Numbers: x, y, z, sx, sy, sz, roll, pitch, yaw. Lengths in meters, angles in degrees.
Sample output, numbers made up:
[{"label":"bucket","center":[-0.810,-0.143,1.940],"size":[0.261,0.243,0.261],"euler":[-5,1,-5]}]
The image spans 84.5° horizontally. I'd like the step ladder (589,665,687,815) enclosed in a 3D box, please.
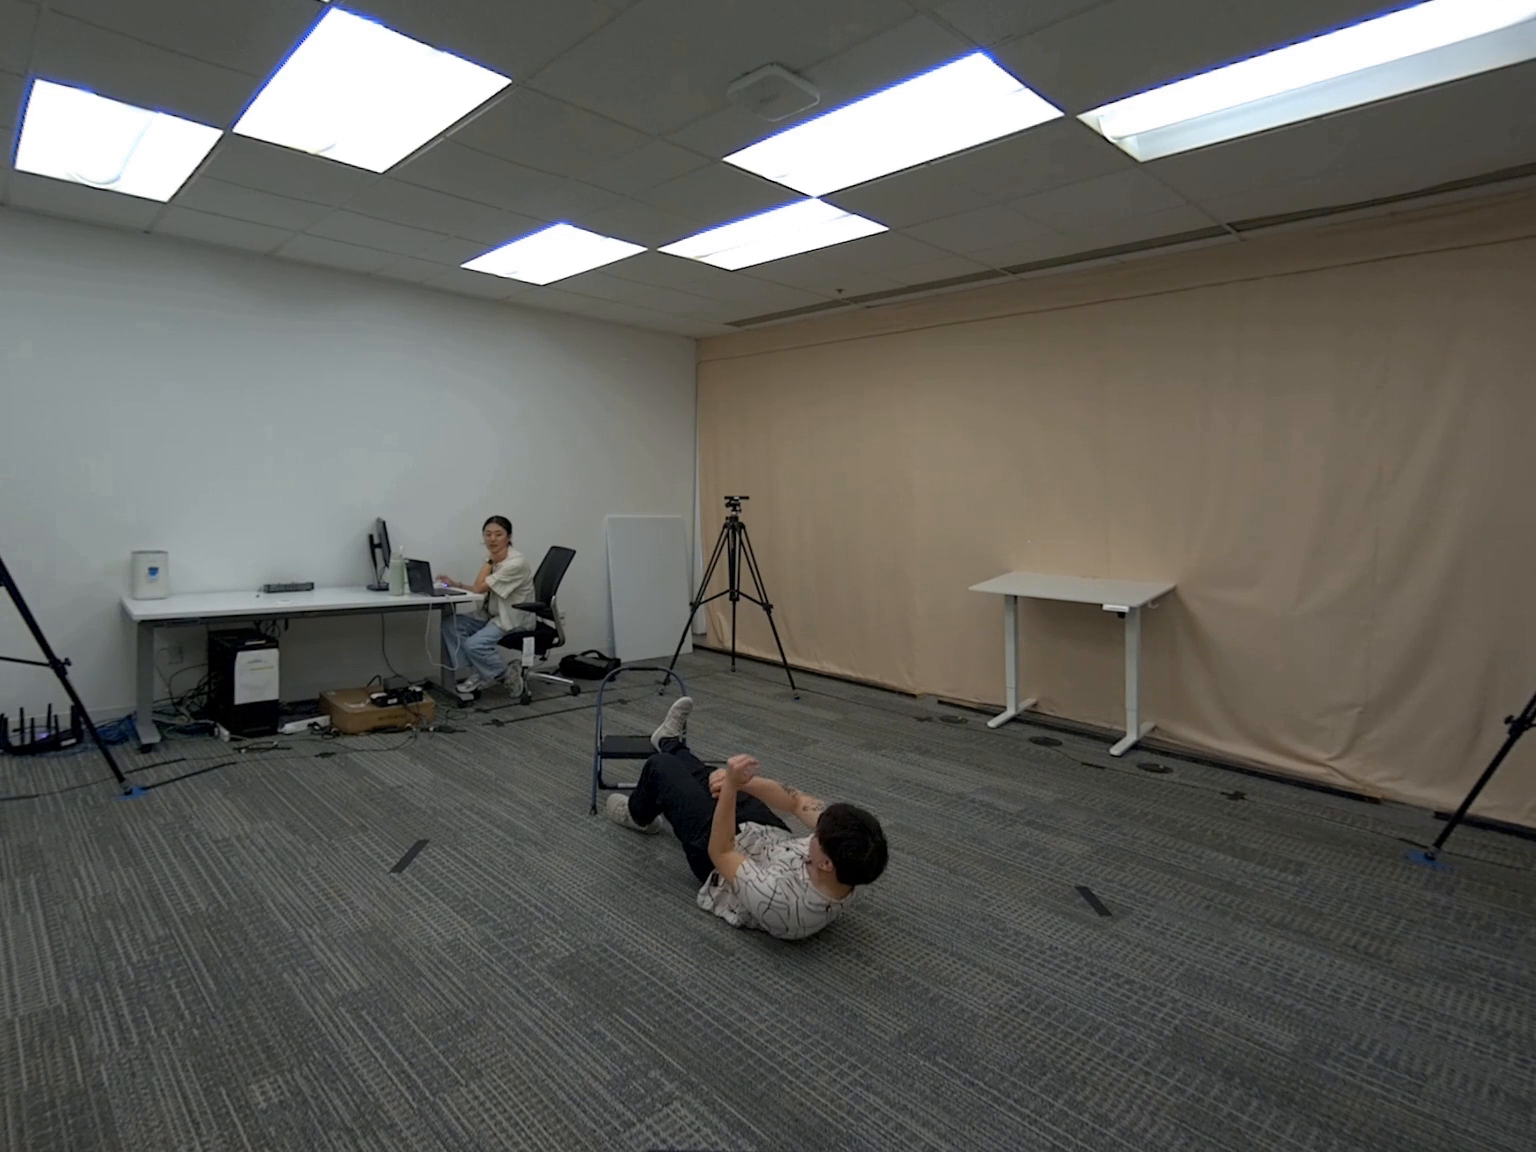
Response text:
[{"label":"step ladder","center":[-0.588,0.730,3.839],"size":[0.429,0.604,0.352],"euler":[1,4,-6]}]
